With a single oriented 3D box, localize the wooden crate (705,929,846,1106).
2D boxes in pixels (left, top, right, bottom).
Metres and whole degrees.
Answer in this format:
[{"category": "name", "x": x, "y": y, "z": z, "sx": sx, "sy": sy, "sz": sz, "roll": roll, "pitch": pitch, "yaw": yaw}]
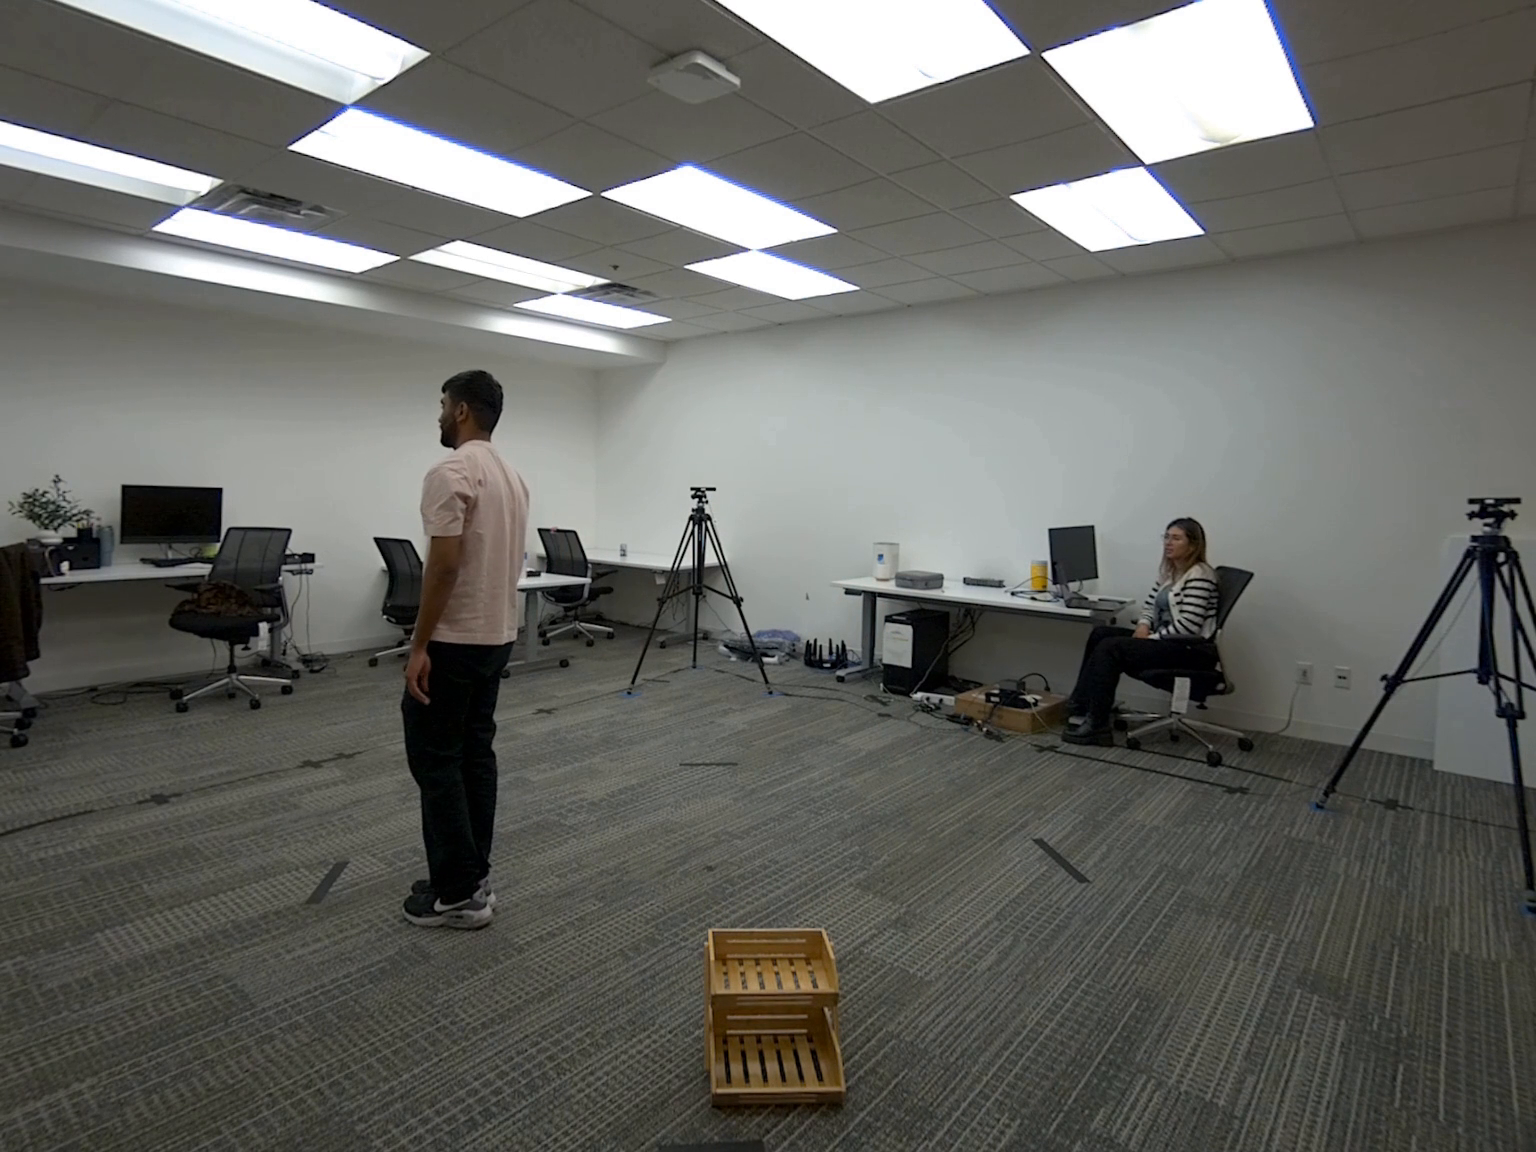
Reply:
[{"category": "wooden crate", "x": 0.008, "y": 1.049, "z": 2.038, "sx": 0.323, "sy": 0.272, "sz": 0.305, "roll": 1, "pitch": 5, "yaw": -5}]
